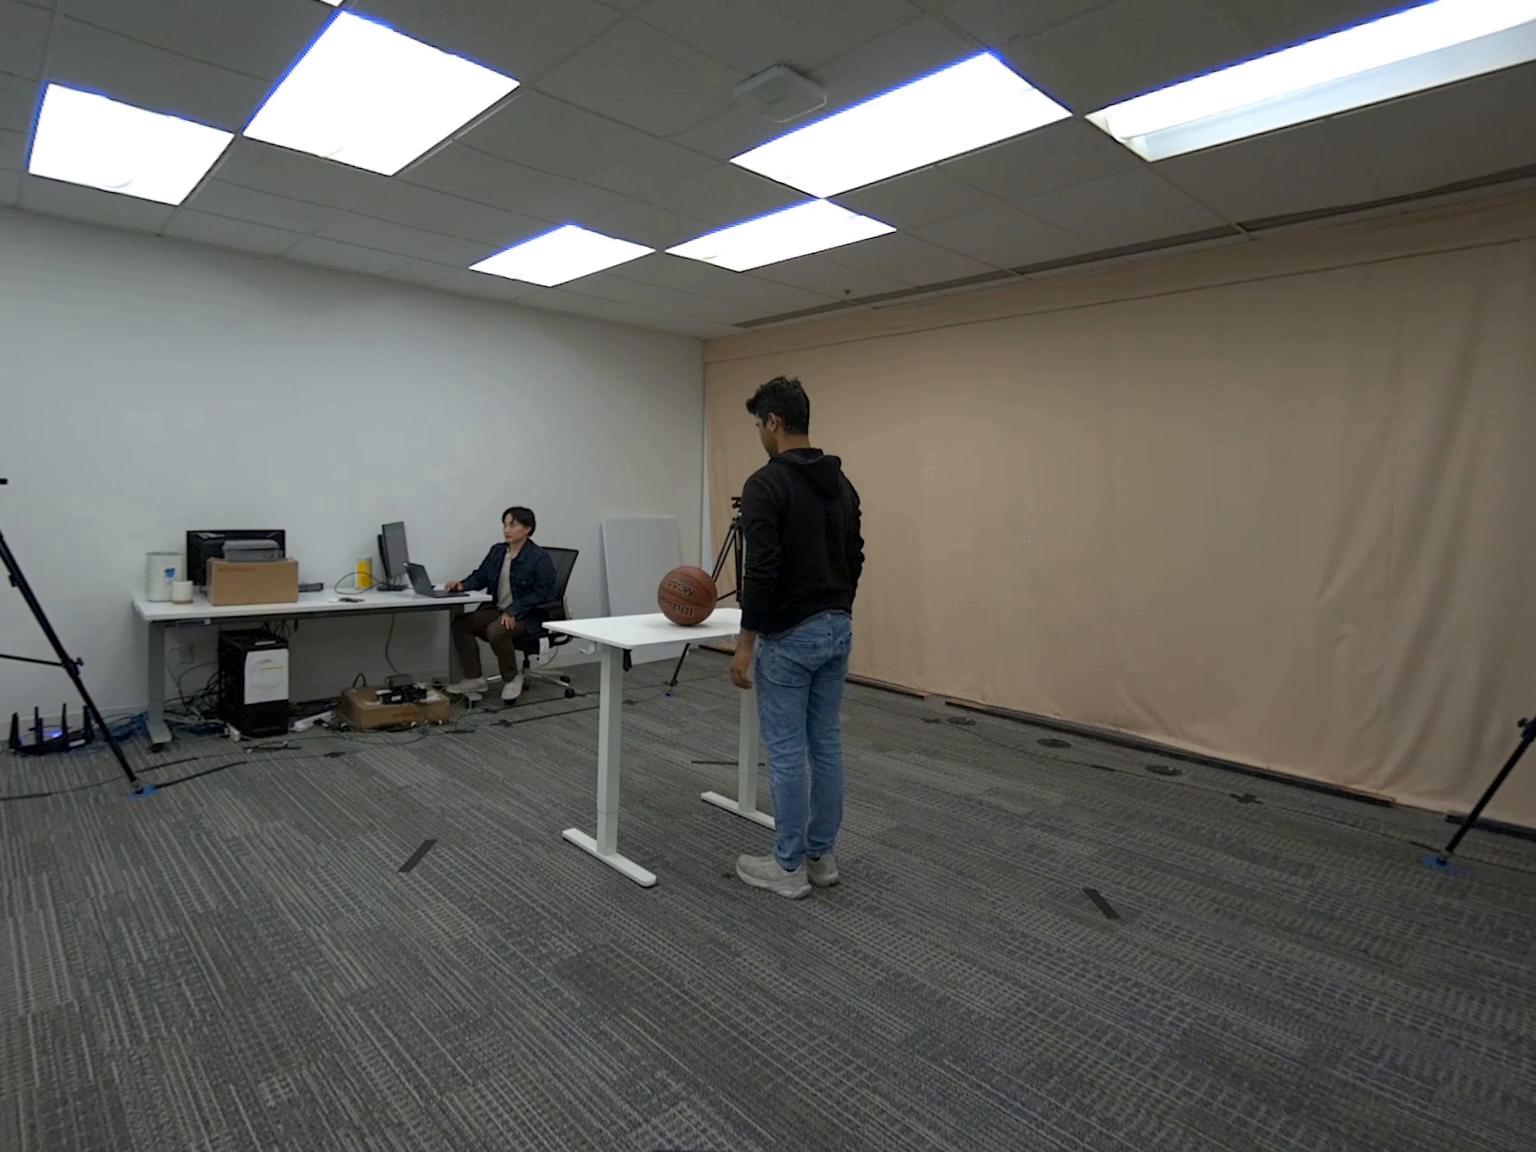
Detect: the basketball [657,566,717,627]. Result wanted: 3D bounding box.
[{"bbox_3d":[-0.330,0.081,3.361,0.236,0.235,0.237,1,4,-1],"label":"basketball"}]
